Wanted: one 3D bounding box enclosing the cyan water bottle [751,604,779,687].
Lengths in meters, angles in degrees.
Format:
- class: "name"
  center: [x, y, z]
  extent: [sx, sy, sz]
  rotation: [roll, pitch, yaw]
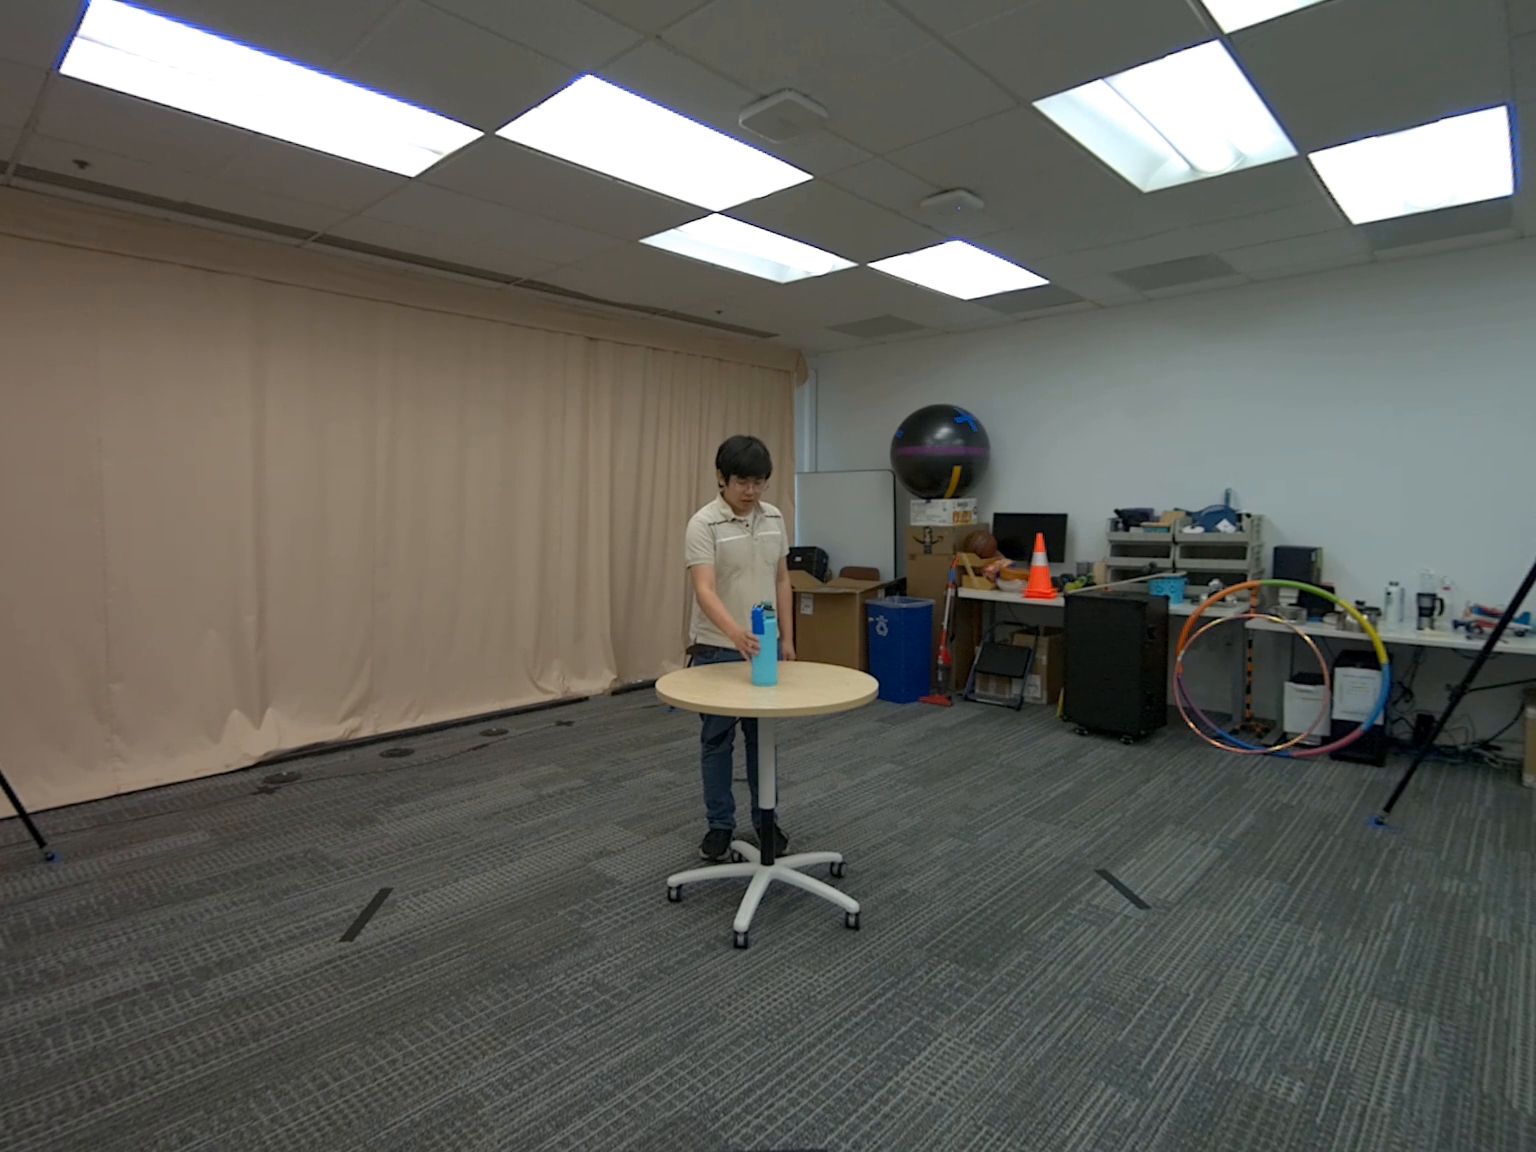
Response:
- class: "cyan water bottle"
  center: [-0.012, 0.227, 2.882]
  extent: [0.092, 0.283, 0.092]
  rotation: [-2, 3, -2]
